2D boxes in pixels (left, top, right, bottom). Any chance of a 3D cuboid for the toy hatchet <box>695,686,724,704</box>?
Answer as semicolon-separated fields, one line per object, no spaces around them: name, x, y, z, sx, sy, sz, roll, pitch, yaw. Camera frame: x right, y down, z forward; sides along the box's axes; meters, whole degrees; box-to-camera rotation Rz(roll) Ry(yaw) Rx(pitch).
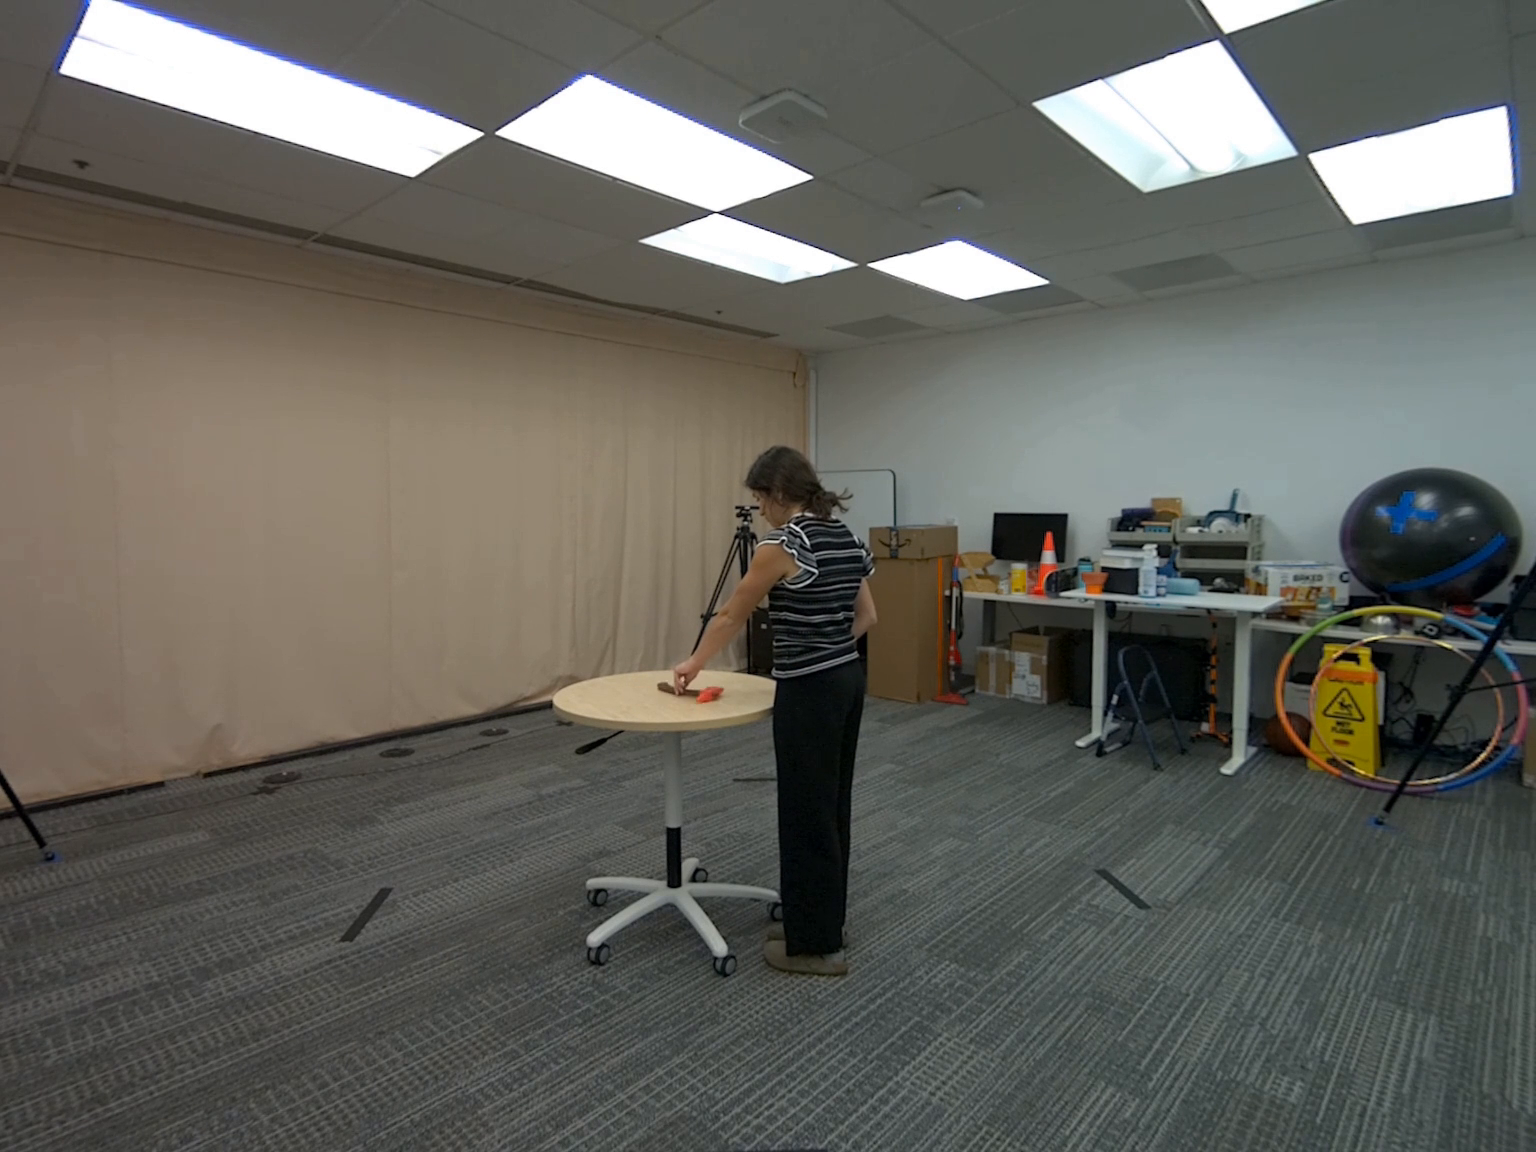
toy hatchet;-0.245;0.369;2.726;0.128;0.029;0.278;-15;11;-32
